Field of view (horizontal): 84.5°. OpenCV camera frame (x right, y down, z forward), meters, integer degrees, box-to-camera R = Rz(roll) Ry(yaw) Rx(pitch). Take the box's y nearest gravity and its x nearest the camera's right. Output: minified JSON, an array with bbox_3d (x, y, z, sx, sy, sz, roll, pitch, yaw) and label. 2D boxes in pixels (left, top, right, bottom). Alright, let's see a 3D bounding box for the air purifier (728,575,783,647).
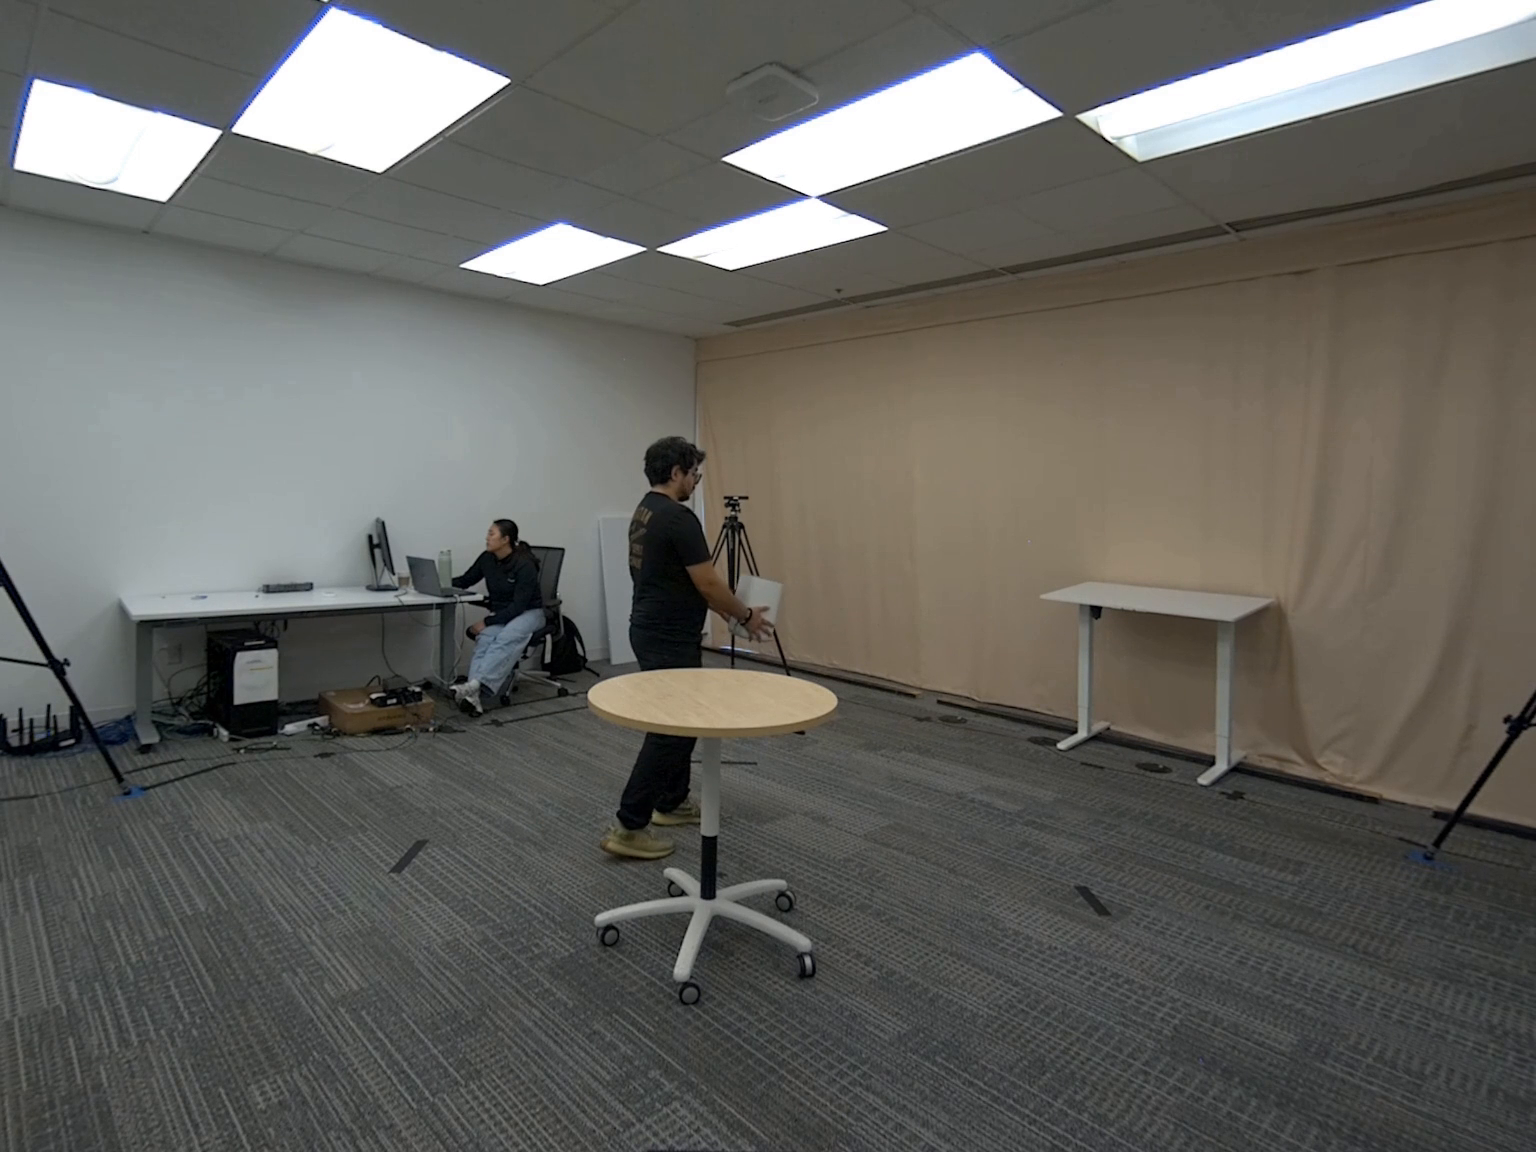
[{"bbox_3d":[-0.065,0.134,3.589,0.167,0.266,0.175,14,-2,-27],"label":"air purifier"}]
